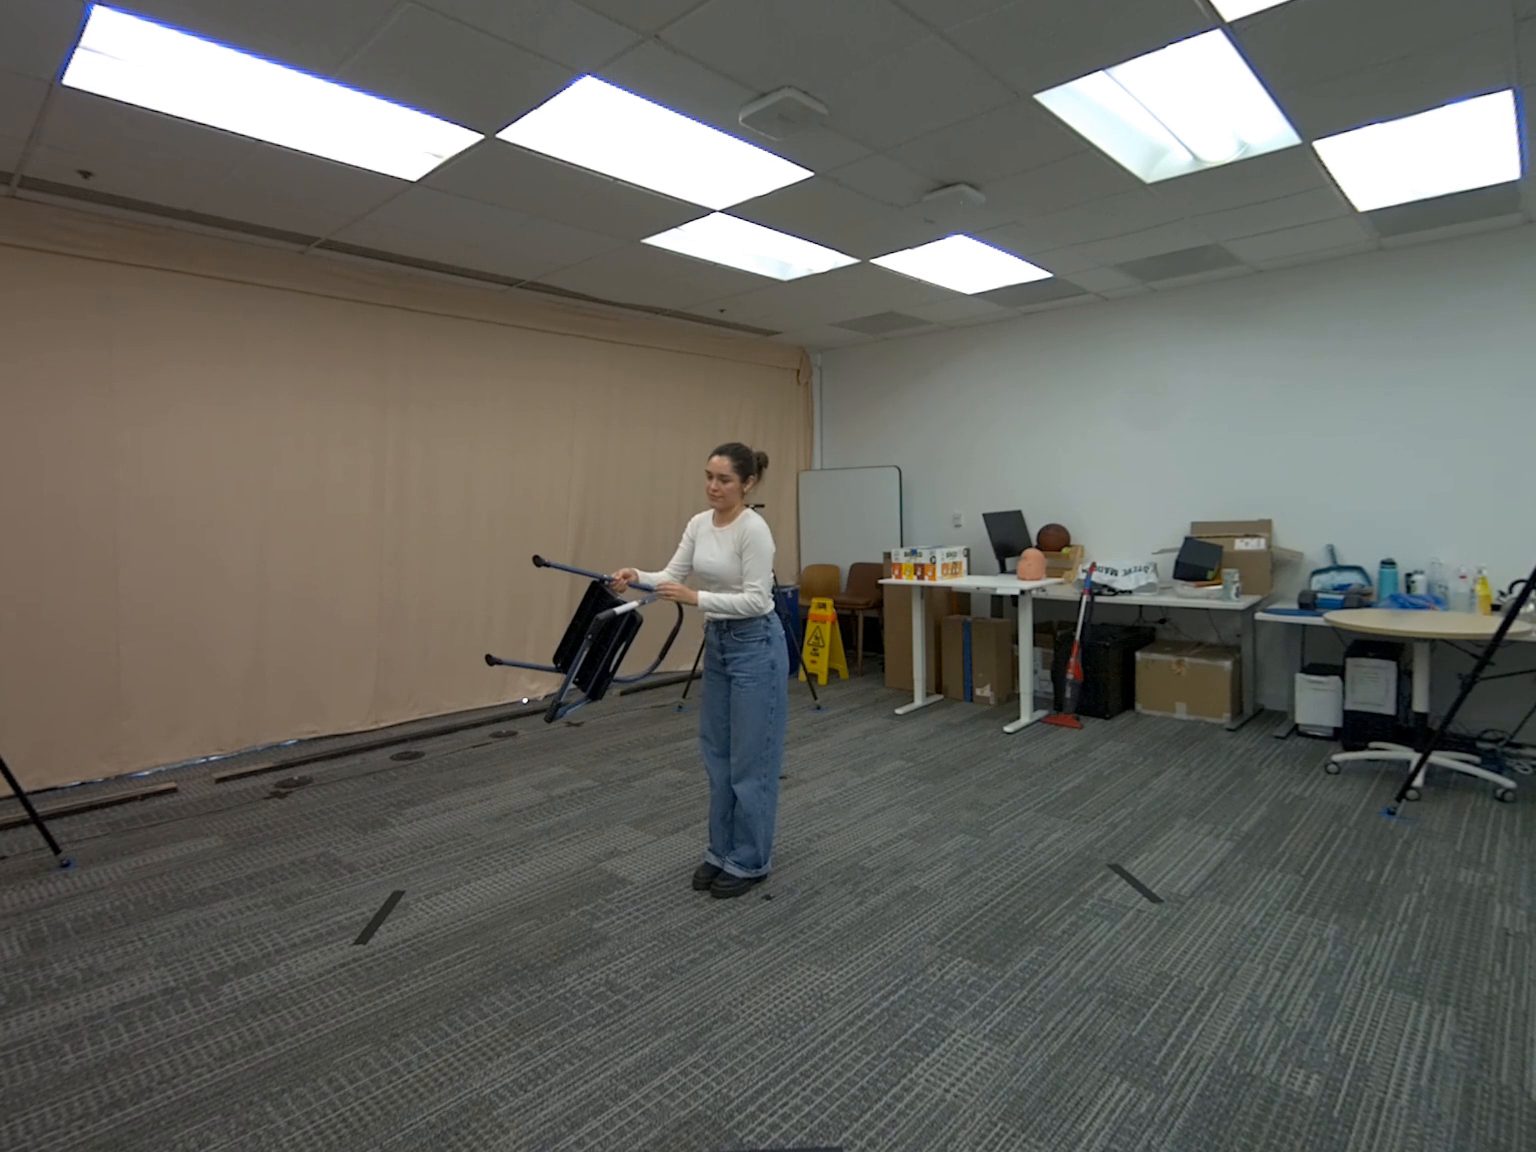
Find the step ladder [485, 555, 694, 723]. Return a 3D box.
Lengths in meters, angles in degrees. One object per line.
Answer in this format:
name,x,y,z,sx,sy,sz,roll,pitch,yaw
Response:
step ladder,-0.567,0.201,2.928,0.360,0.430,0.588,39,18,27
